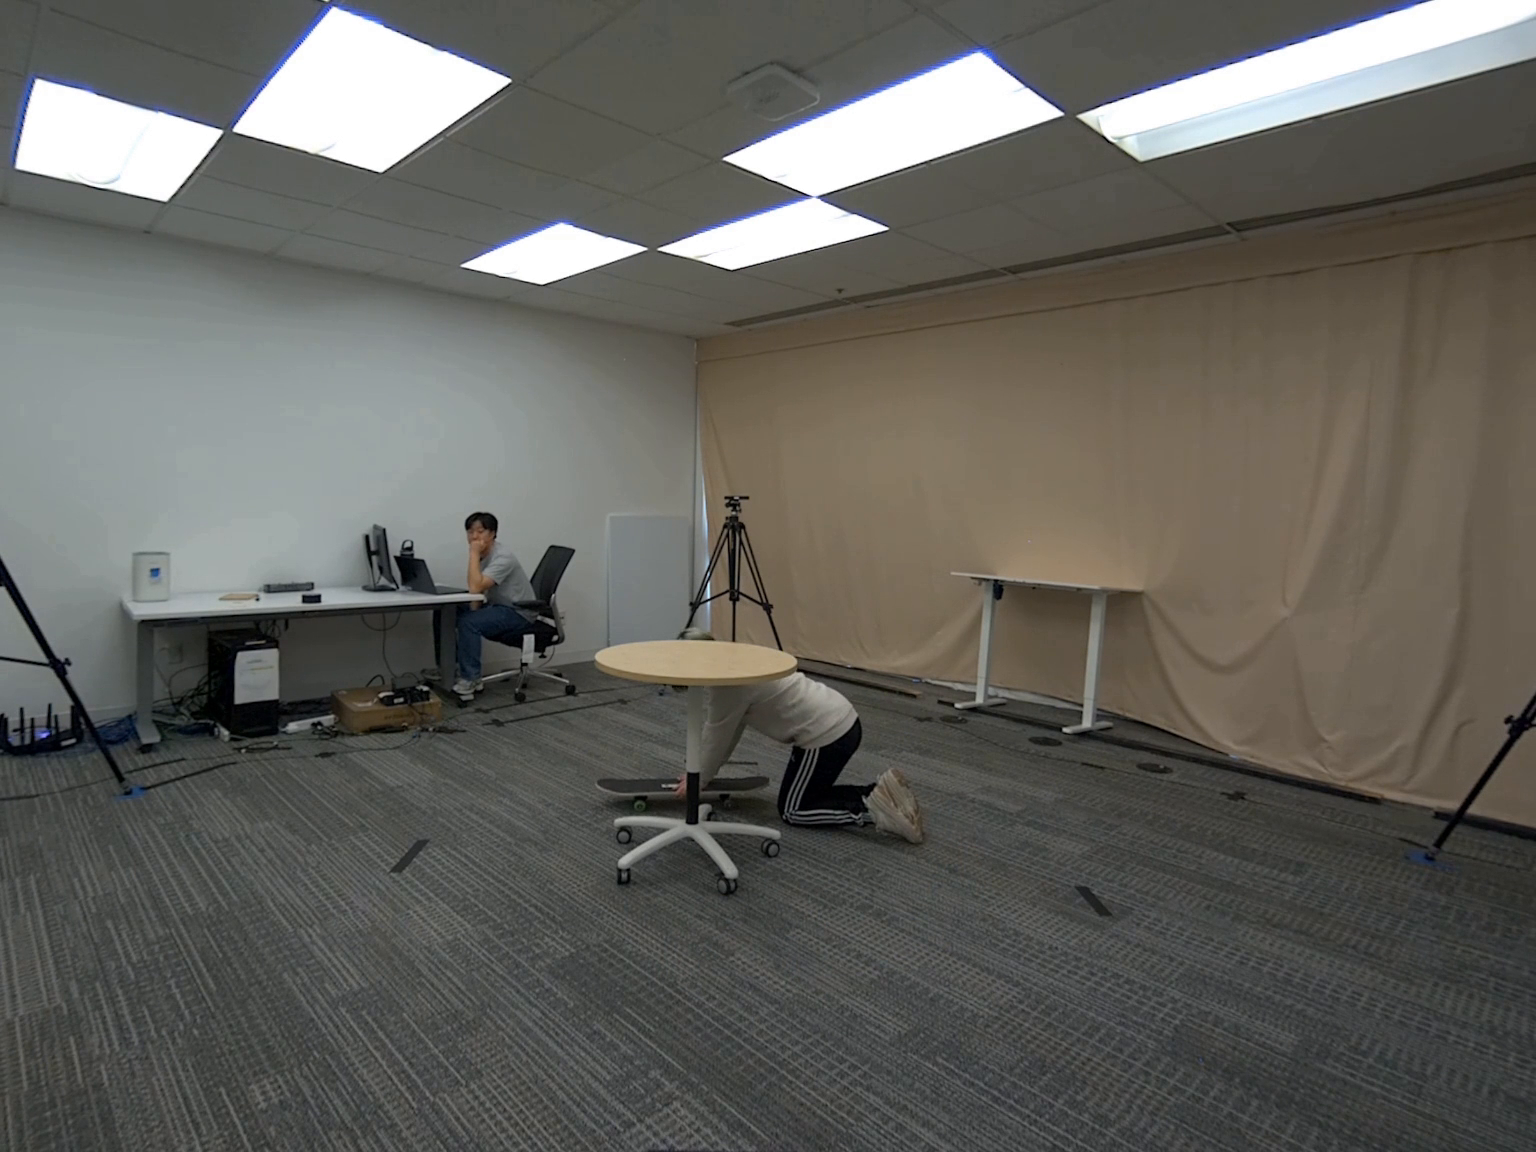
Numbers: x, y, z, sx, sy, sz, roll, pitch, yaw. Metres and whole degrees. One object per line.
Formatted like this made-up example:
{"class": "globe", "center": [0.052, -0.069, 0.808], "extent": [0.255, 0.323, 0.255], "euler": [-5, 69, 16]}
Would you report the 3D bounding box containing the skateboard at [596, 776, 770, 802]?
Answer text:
{"class": "skateboard", "center": [-0.391, 0.975, 3.807], "extent": [0.781, 0.110, 0.195], "euler": [0, 3, -7]}
